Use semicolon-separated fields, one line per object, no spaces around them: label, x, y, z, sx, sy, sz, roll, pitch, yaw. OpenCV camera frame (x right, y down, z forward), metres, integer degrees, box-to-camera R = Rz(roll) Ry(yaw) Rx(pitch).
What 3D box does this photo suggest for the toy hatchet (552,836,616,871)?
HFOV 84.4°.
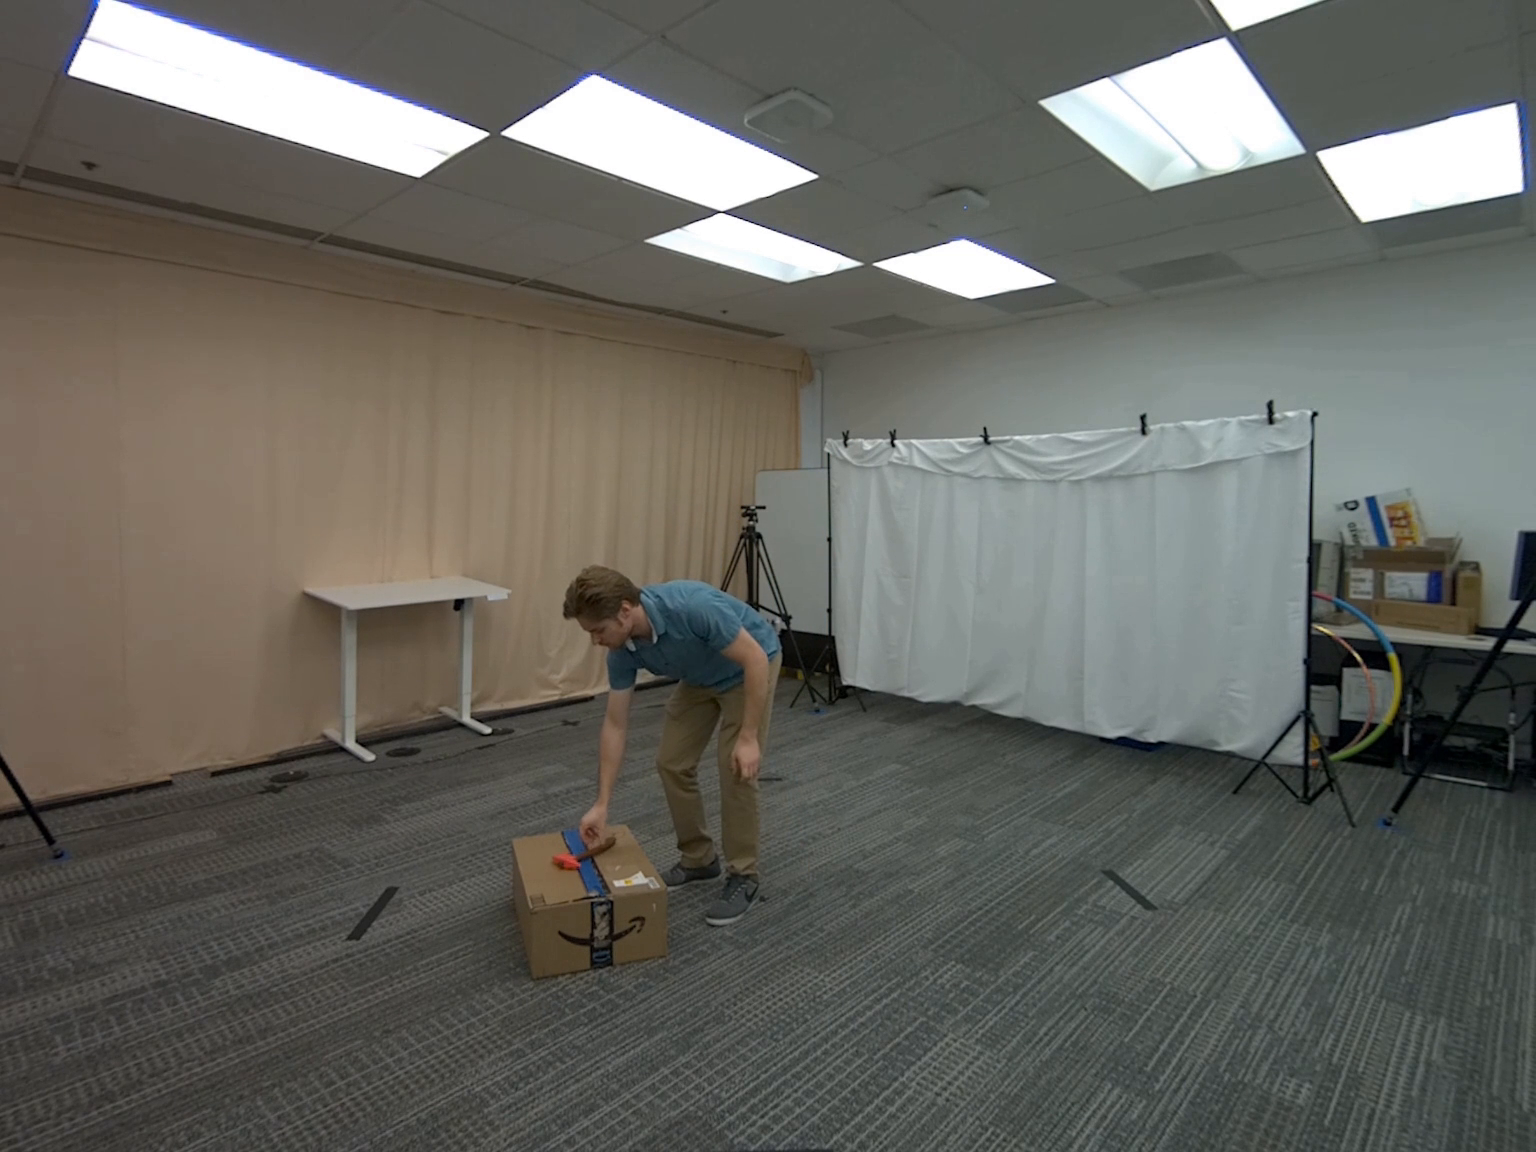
toy hatchet;-0.617;0.925;2.845;0.133;0.029;0.265;-3;0;18
